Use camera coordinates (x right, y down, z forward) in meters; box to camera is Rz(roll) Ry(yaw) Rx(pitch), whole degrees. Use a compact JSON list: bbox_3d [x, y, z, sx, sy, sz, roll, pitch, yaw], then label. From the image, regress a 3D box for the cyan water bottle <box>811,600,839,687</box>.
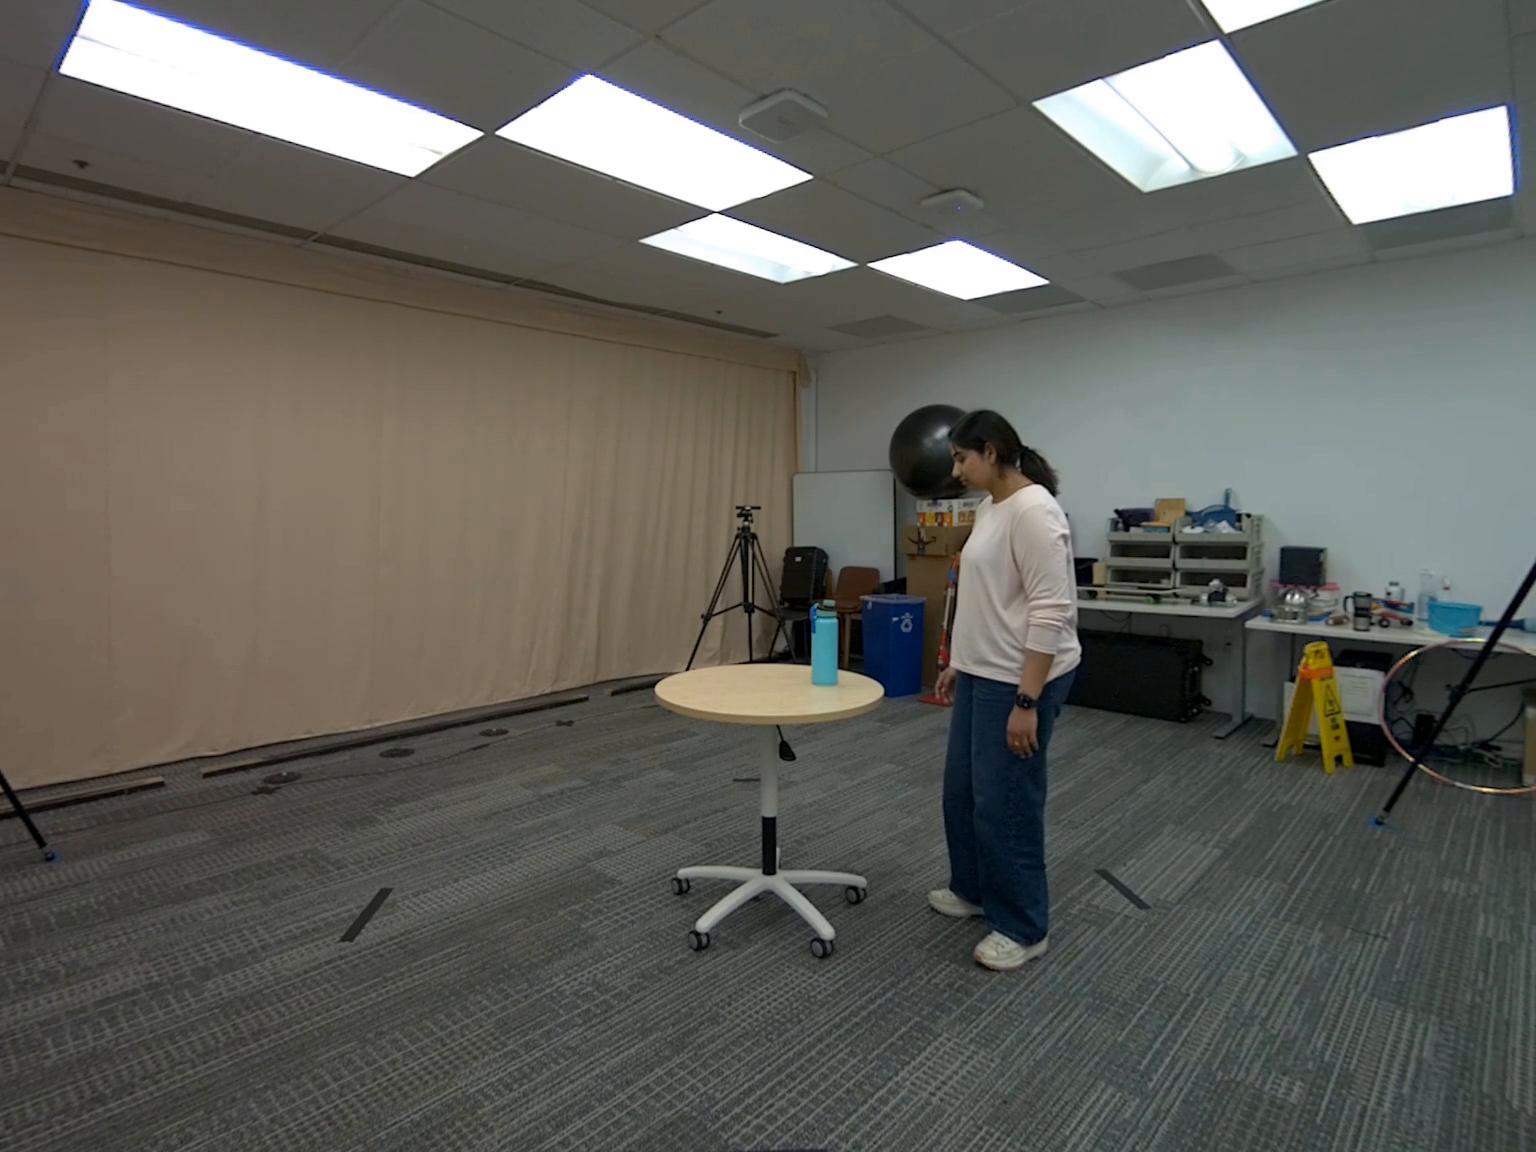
[{"bbox_3d":[0.202,0.231,2.873,0.092,0.283,0.092,0,4,-2],"label":"cyan water bottle"}]
